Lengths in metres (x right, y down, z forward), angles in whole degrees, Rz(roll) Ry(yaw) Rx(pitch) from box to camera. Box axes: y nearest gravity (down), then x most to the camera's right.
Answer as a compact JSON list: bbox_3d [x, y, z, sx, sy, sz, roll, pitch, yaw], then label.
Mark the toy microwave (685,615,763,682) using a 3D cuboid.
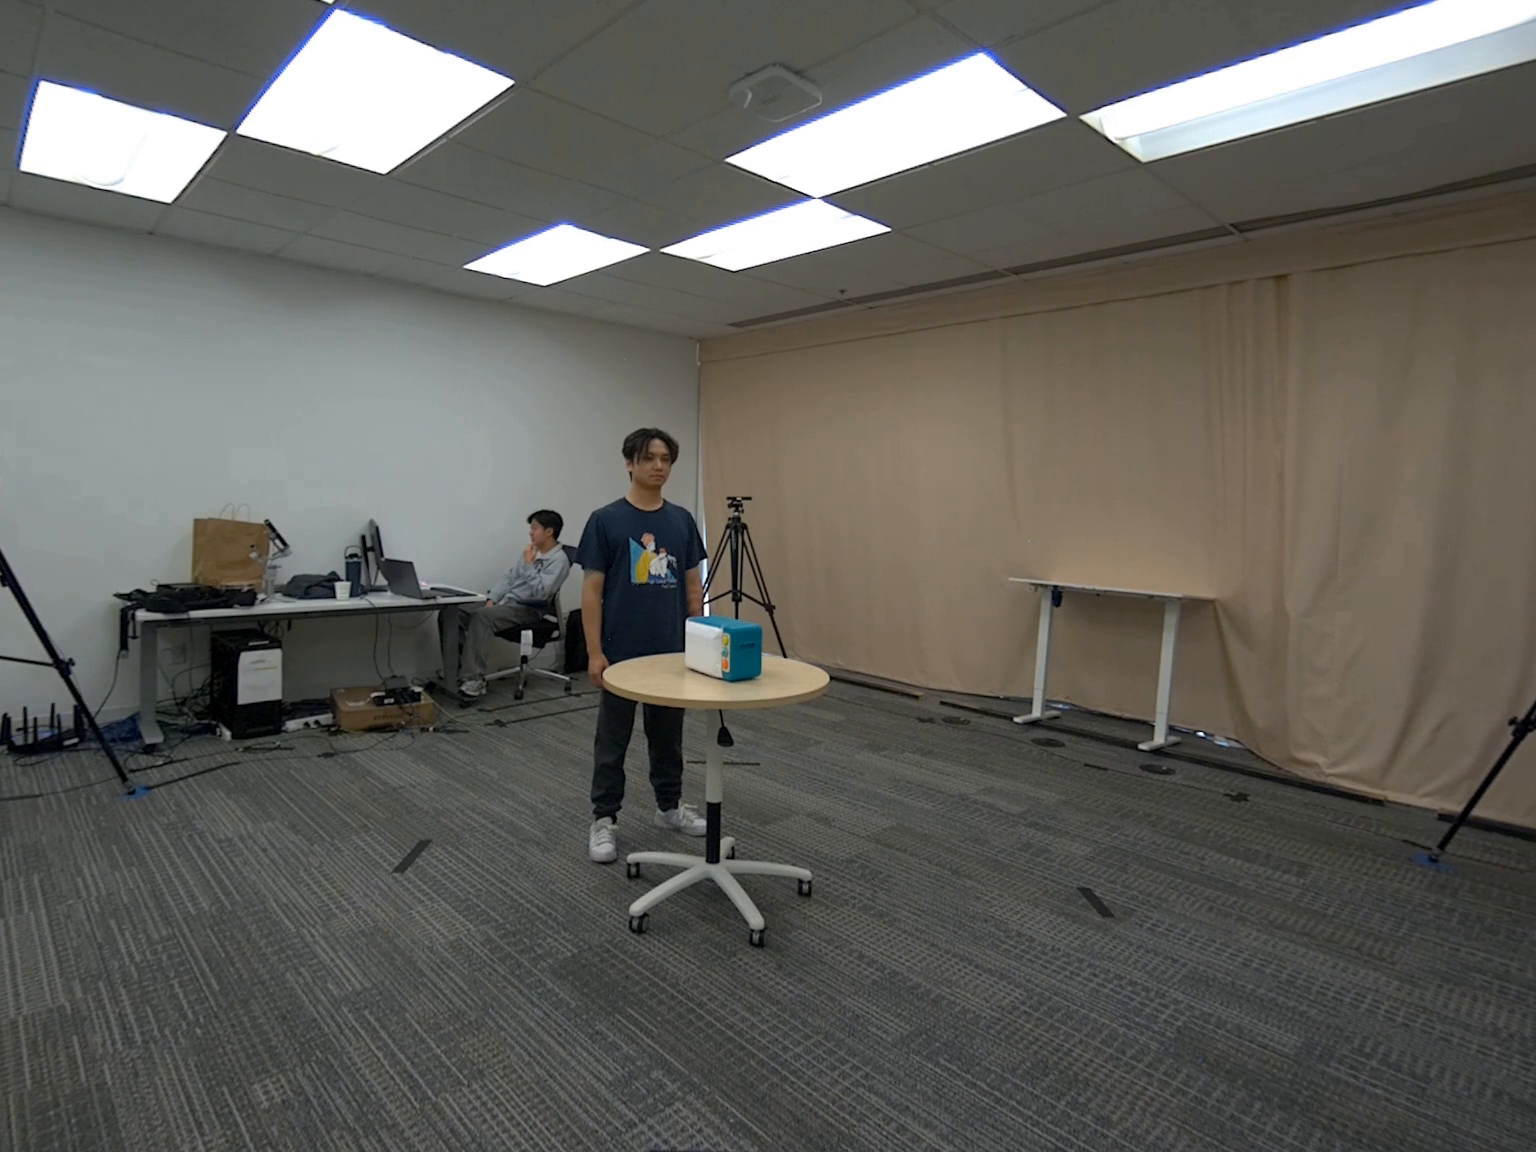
[{"bbox_3d":[-0.166,0.243,2.842,0.149,0.183,0.293,-2,6,-37],"label":"toy microwave"}]
